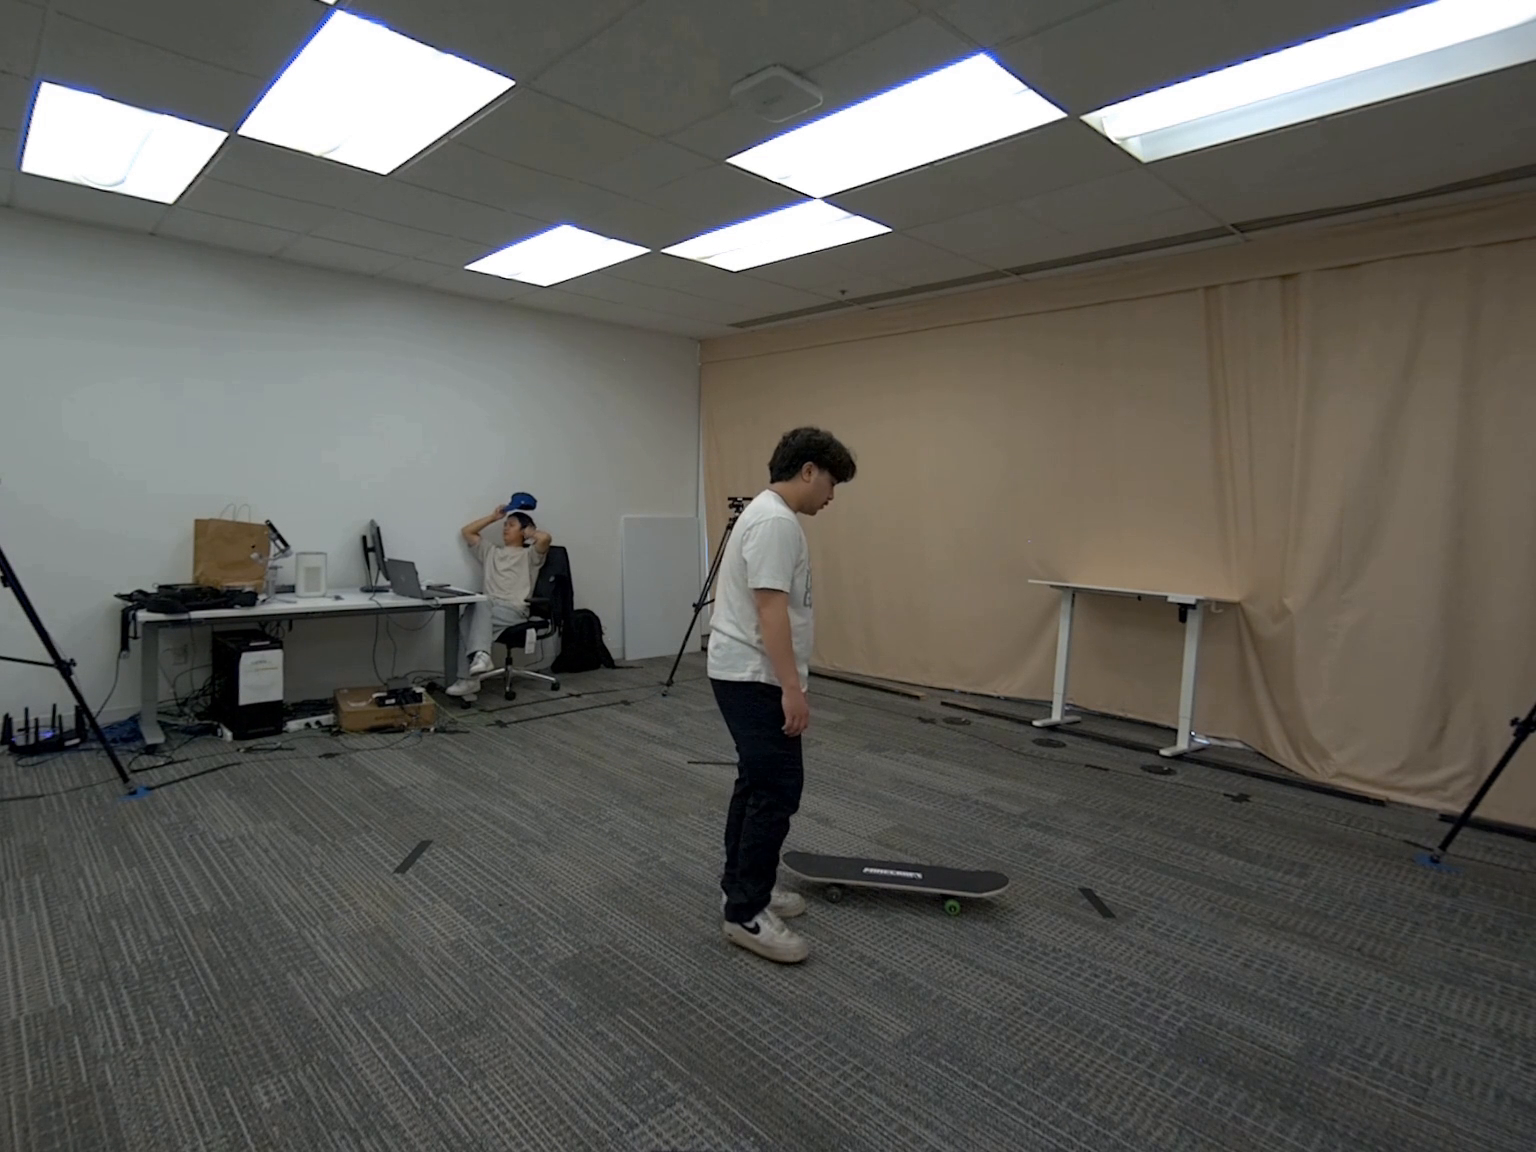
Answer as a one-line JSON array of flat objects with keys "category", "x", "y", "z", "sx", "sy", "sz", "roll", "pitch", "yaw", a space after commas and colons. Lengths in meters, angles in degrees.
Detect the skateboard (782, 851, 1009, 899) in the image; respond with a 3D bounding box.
[{"category": "skateboard", "x": 0.434, "y": 1.082, "z": 2.957, "sx": 0.792, "sy": 0.110, "sz": 0.192, "roll": 2, "pitch": 5, "yaw": 9}]
